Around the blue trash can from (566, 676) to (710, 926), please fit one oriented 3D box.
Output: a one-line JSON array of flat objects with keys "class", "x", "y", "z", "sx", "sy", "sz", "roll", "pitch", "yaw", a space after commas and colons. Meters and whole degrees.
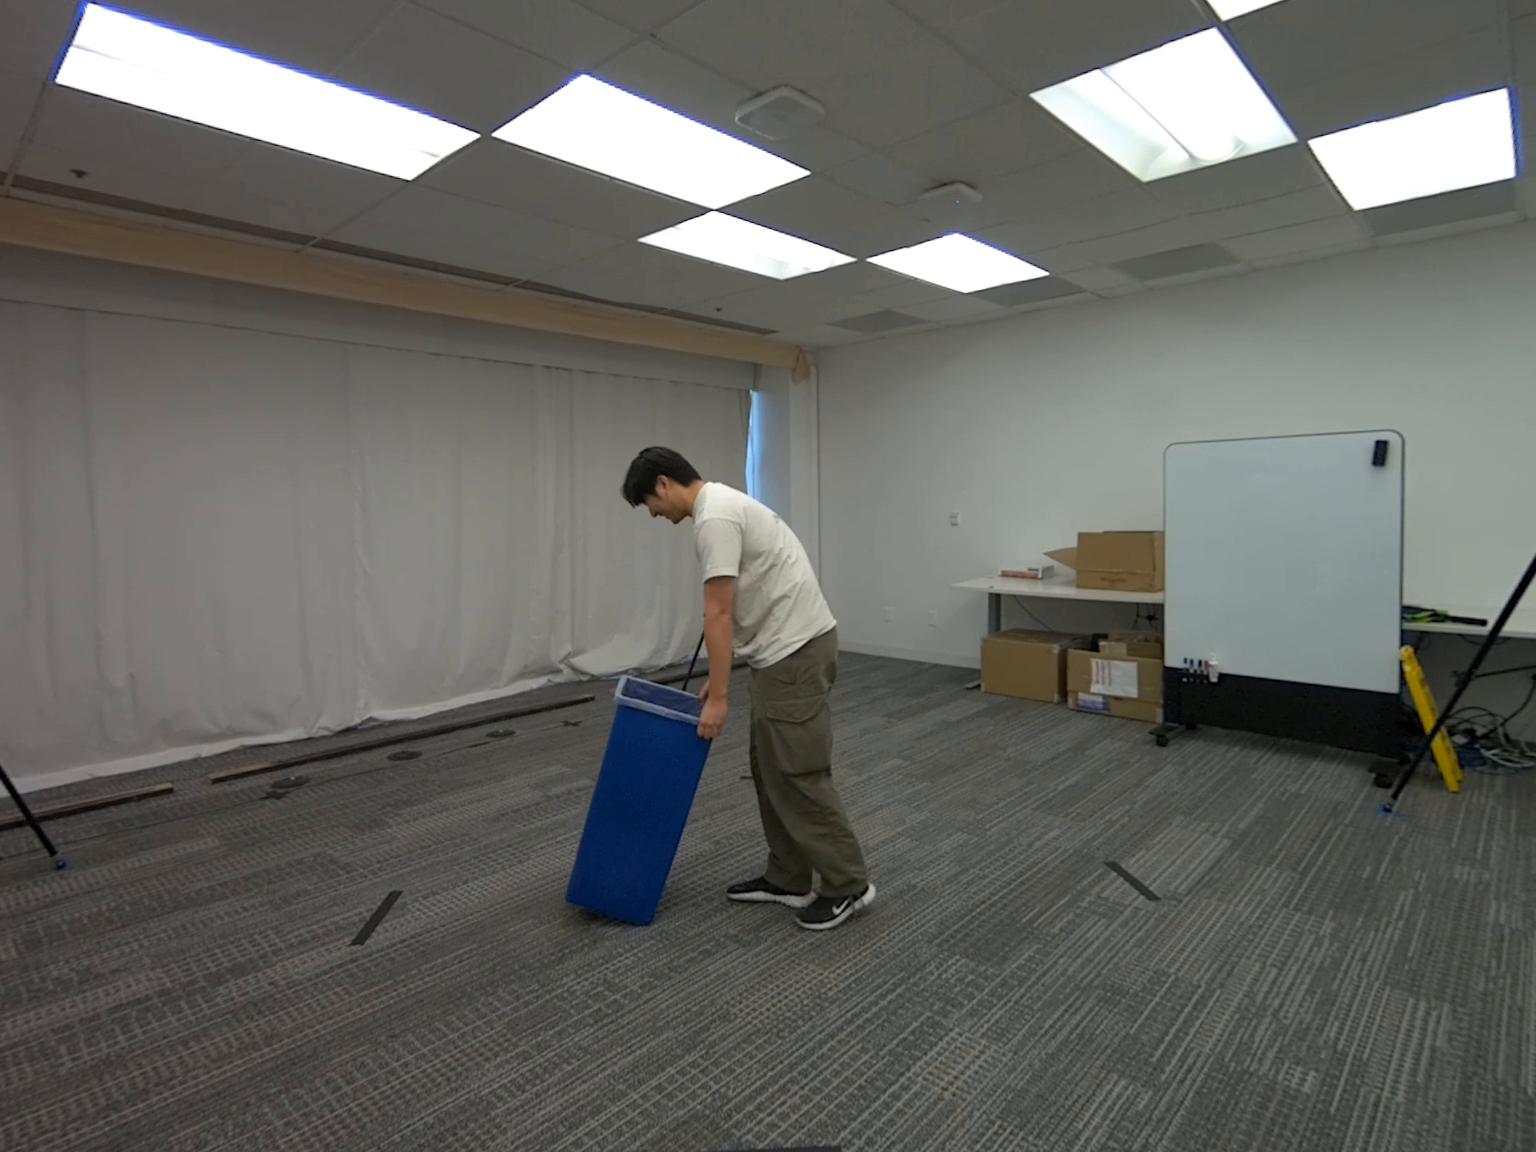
[{"class": "blue trash can", "x": -0.447, "y": 0.770, "z": 2.919, "sx": 0.372, "sy": 0.713, "sz": 0.380, "roll": 19, "pitch": 1, "yaw": -5}]
